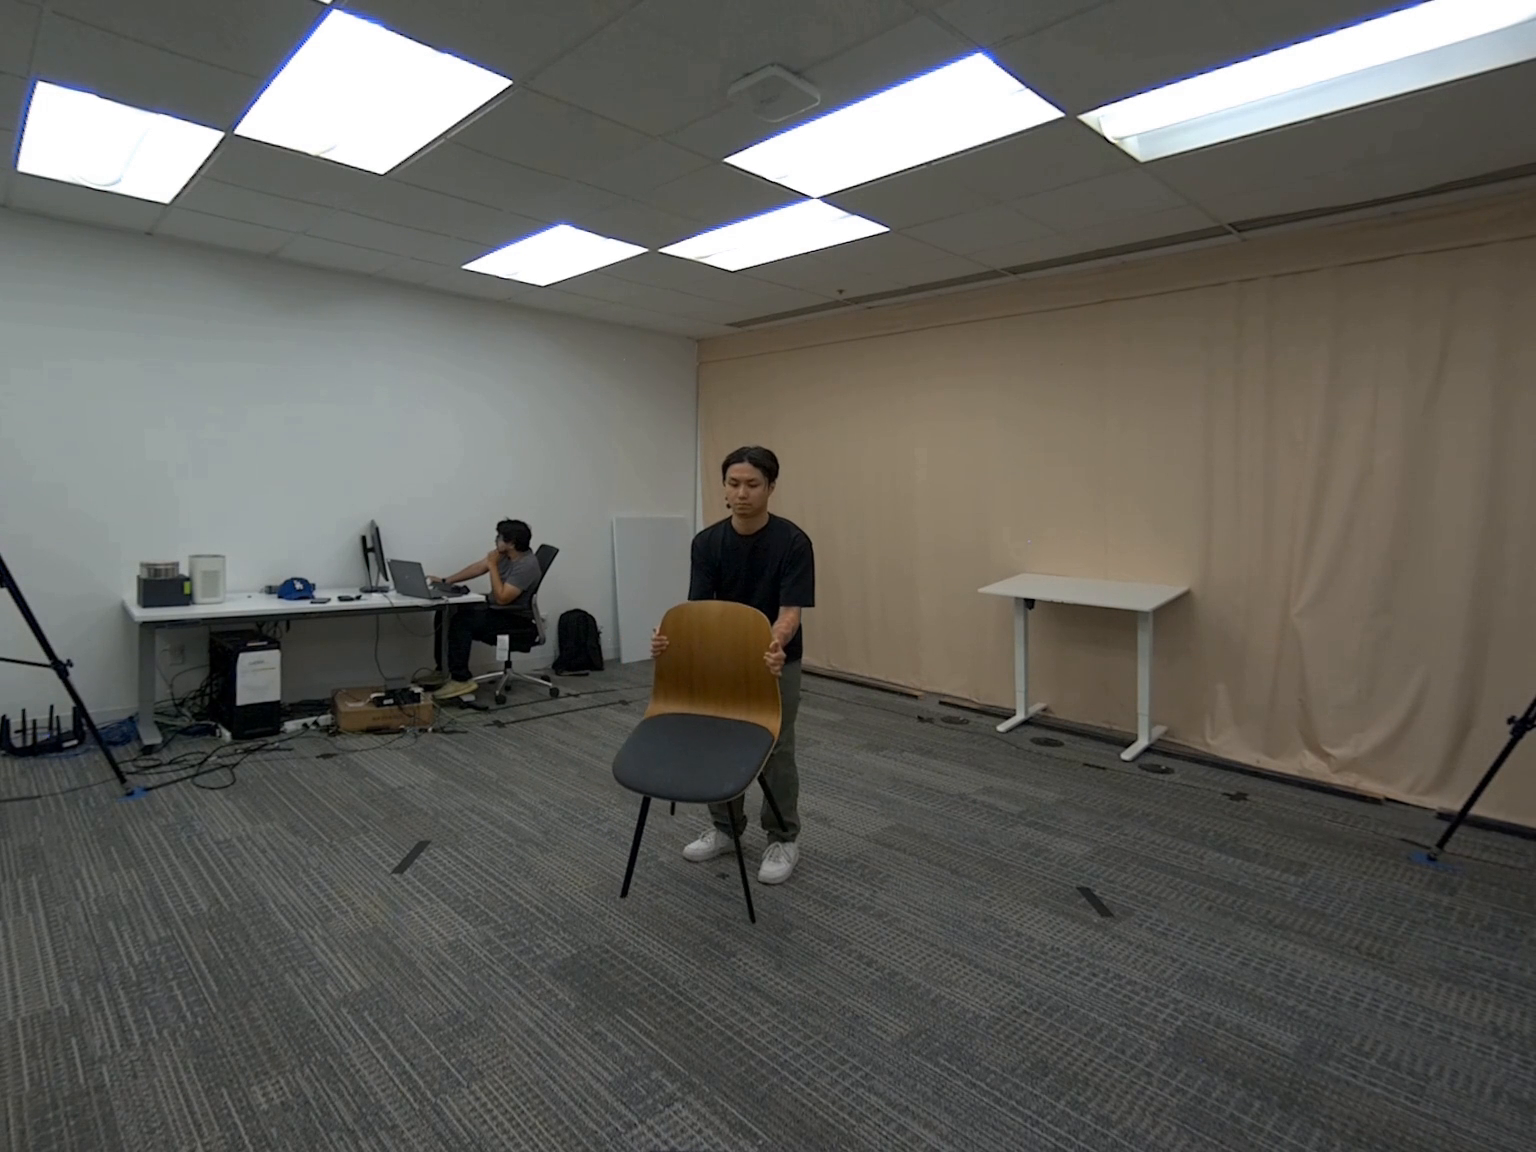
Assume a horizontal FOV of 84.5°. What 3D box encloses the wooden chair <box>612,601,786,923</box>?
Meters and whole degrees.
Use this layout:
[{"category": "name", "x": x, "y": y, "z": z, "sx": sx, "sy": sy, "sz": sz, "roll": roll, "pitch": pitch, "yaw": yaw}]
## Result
[{"category": "wooden chair", "x": -0.225, "y": 0.583, "z": 2.698, "sx": 0.485, "sy": 0.868, "sz": 0.521, "roll": 4, "pitch": 15, "yaw": 16}]
